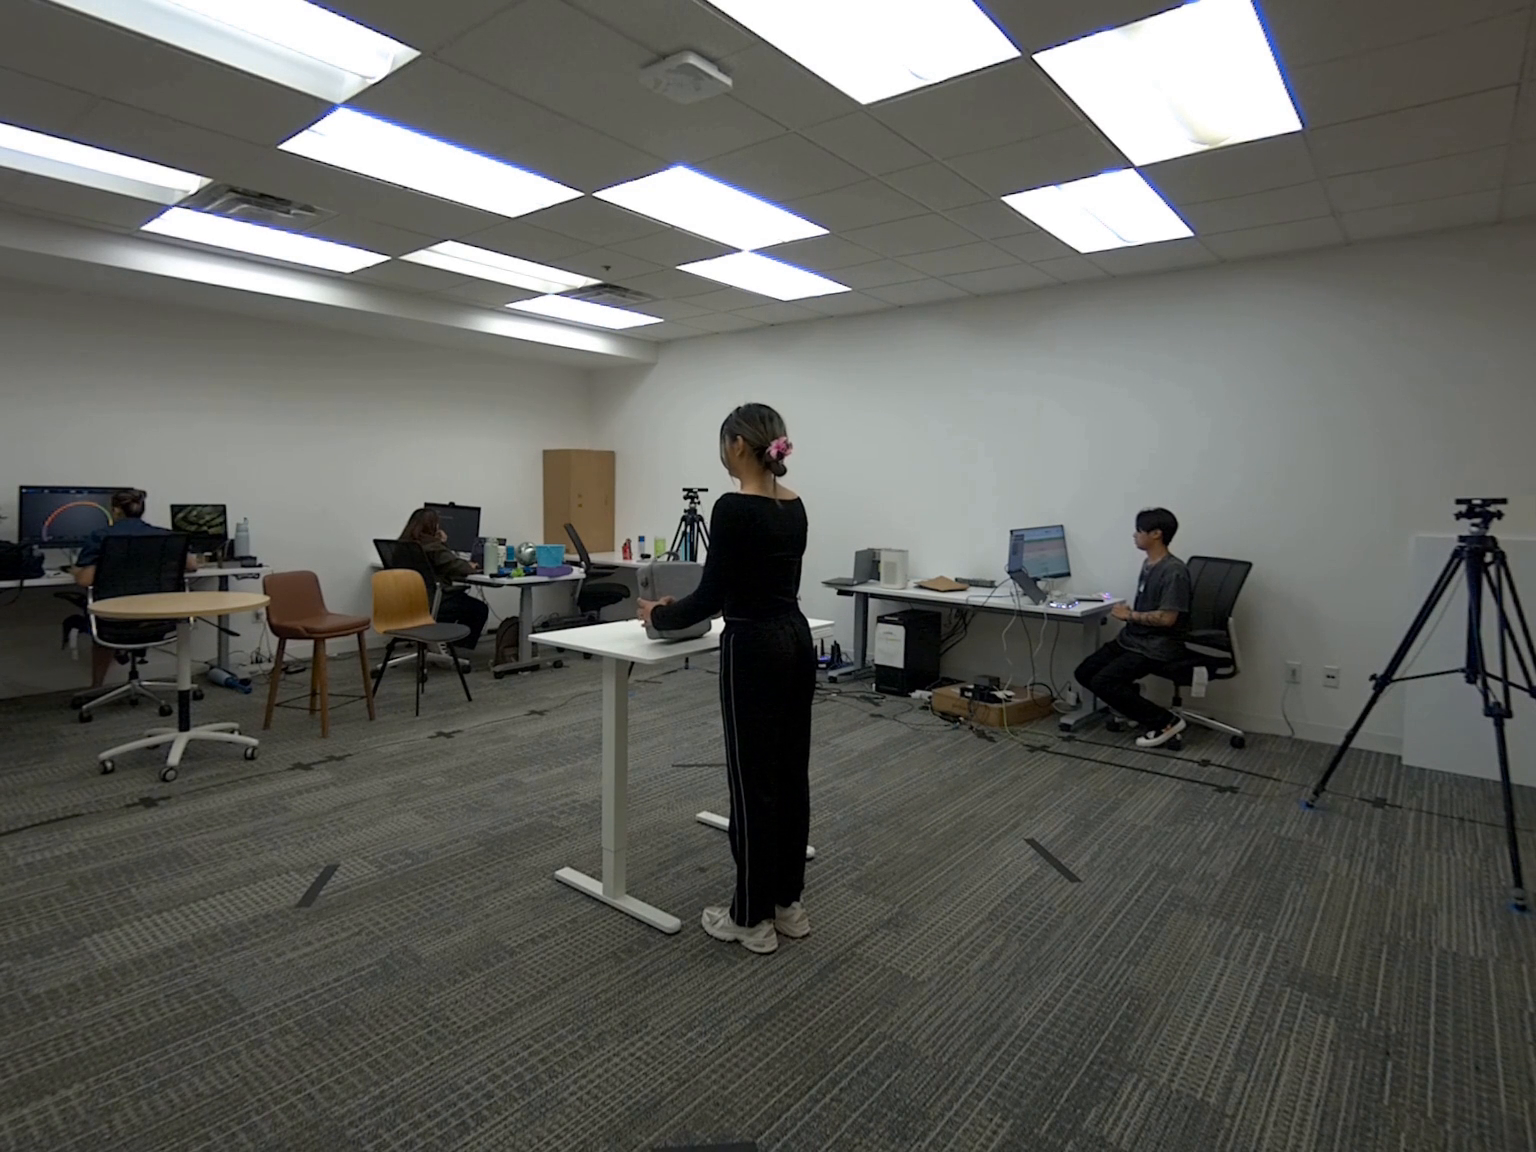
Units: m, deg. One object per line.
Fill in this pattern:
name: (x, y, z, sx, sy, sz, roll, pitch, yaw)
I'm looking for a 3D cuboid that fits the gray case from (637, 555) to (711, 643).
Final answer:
gray case: (-0.316, 0.072, 2.848, 0.107, 0.262, 0.249, -12, -7, 35)
